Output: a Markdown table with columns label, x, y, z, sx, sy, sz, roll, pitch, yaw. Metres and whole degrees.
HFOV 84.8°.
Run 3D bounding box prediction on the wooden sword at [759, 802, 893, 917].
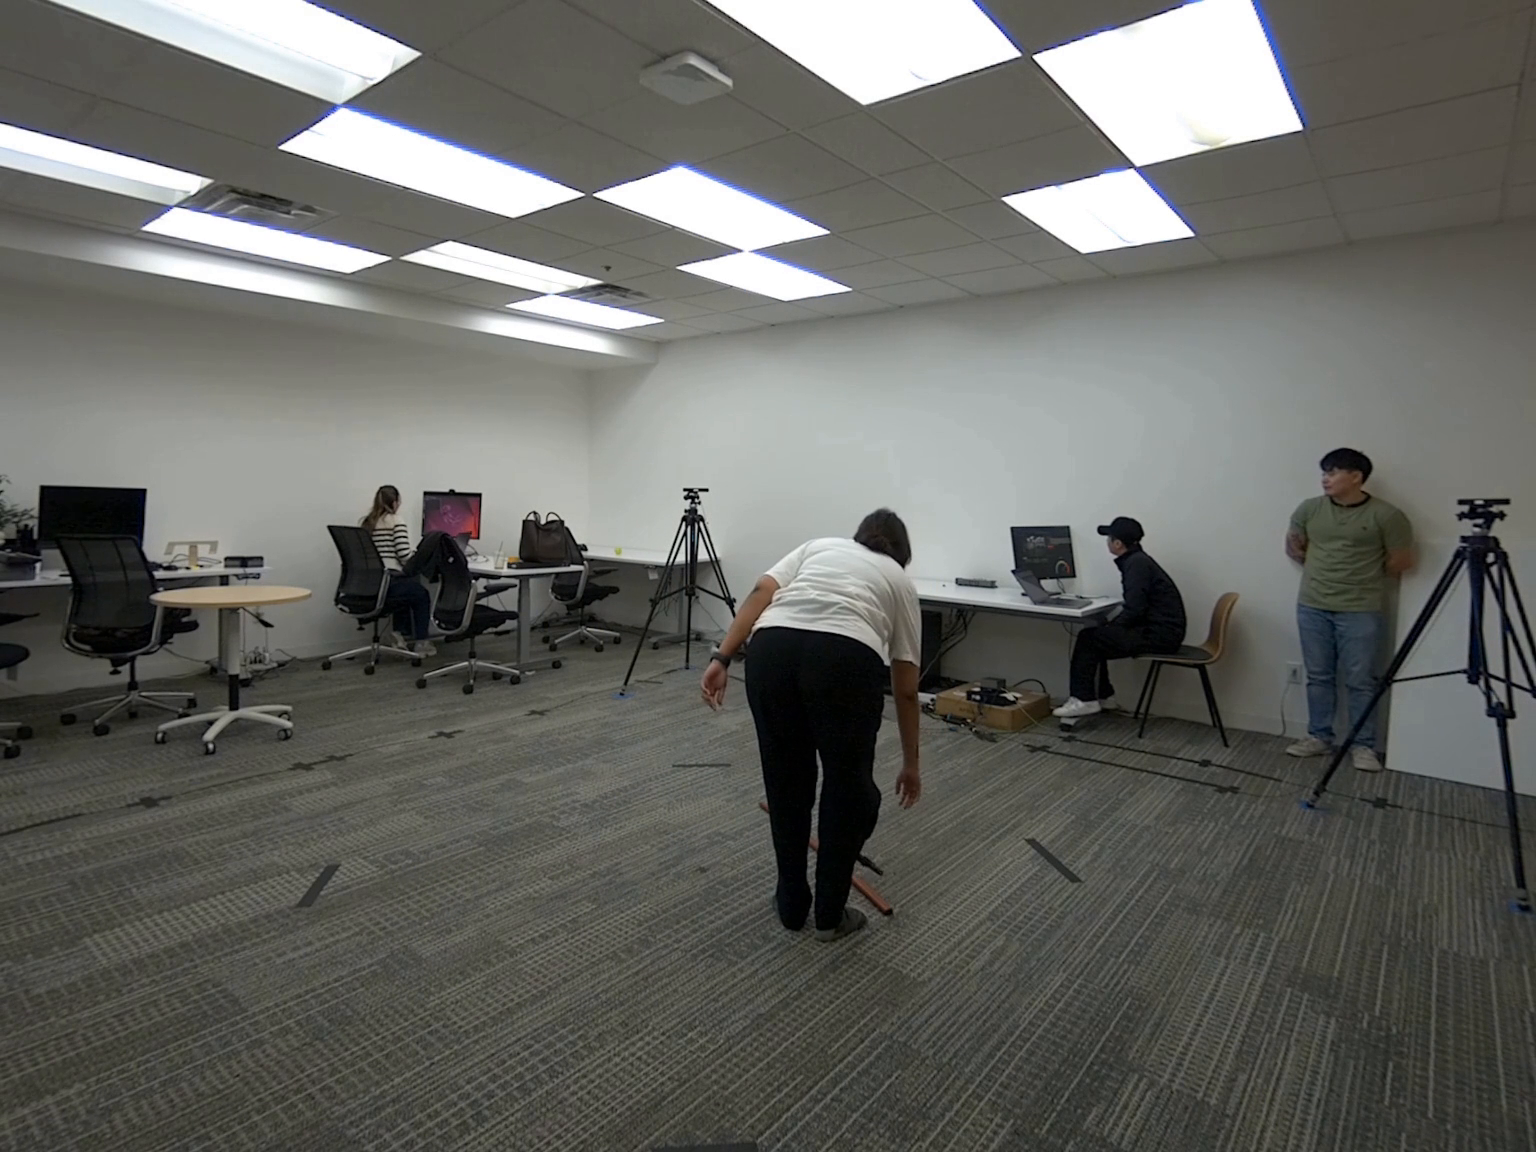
| label | x | y | z | sx | sy | sz | roll | pitch | yaw |
| --- | --- | --- | --- | --- | --- | --- | --- | --- | --- |
| wooden sword | 0.182 | 1.036 | 3.276 | 0.050 | 0.024 | 1.051 | 48 | -14 | -20 |
